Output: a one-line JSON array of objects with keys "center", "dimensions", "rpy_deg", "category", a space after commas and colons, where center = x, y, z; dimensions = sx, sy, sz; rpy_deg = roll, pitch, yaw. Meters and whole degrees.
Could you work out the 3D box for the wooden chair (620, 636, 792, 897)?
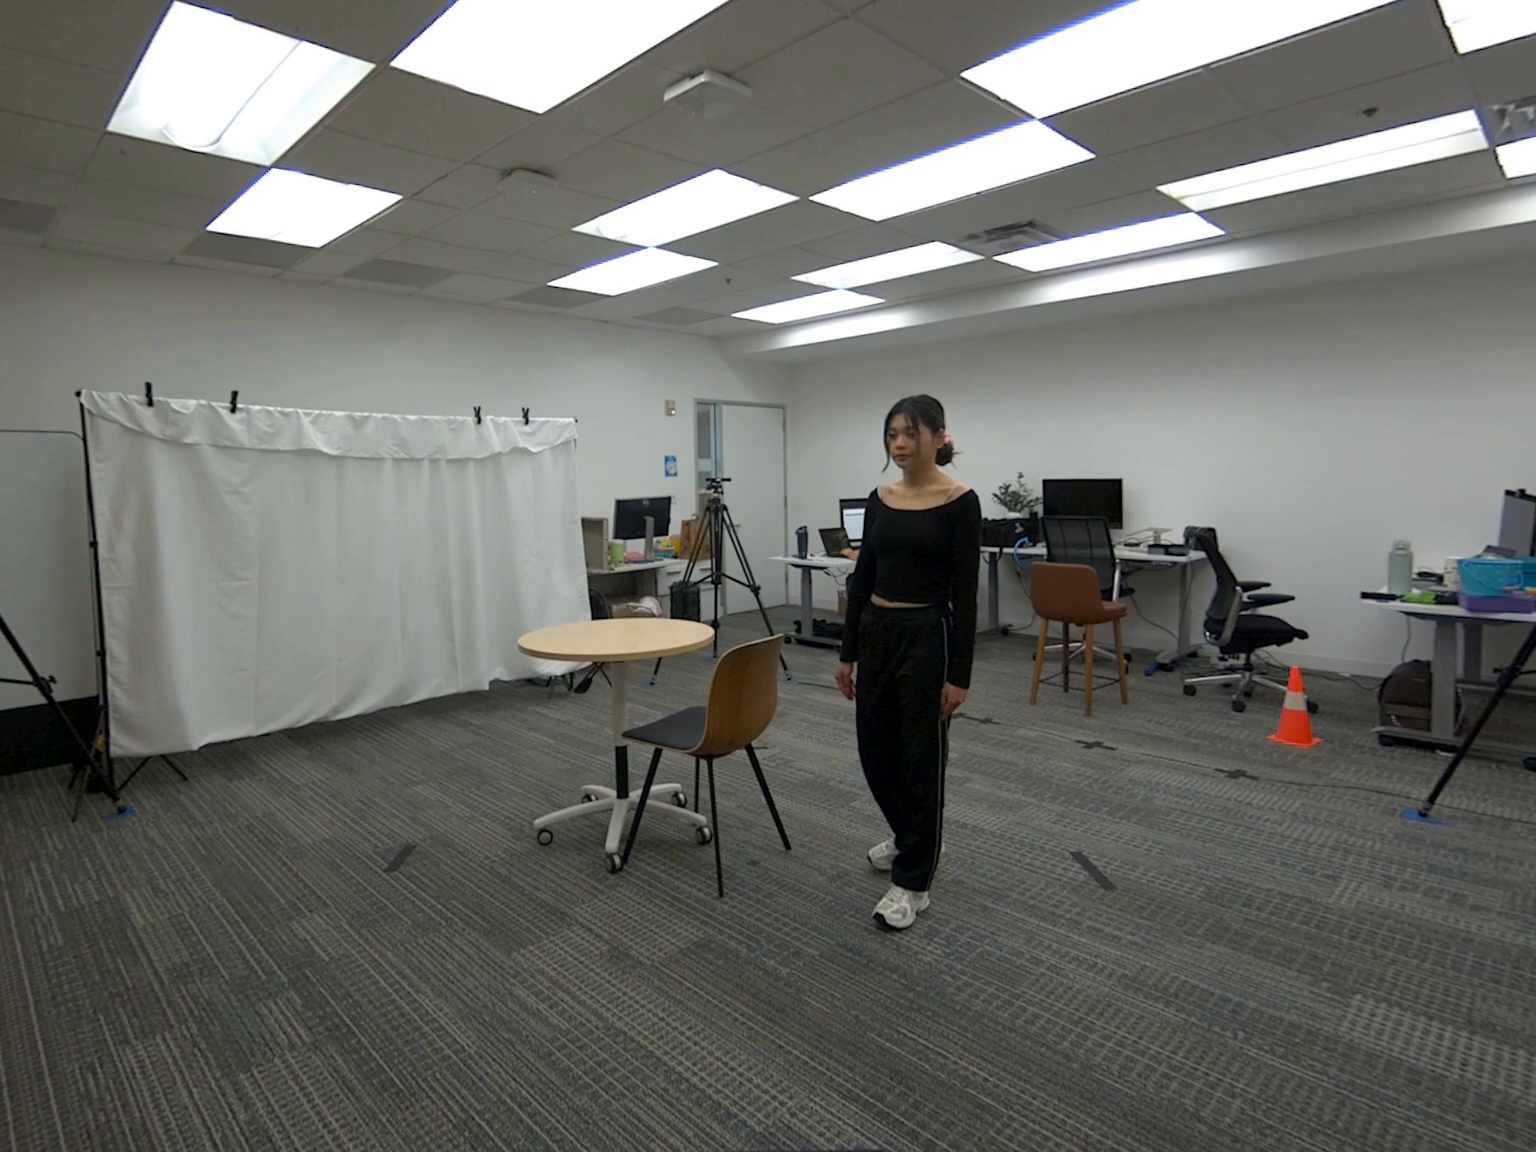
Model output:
[{"center": [-0.235, 0.614, 3.133], "dimensions": [0.539, 0.872, 0.466], "rpy_deg": [7, 9, 34], "category": "wooden chair"}]
